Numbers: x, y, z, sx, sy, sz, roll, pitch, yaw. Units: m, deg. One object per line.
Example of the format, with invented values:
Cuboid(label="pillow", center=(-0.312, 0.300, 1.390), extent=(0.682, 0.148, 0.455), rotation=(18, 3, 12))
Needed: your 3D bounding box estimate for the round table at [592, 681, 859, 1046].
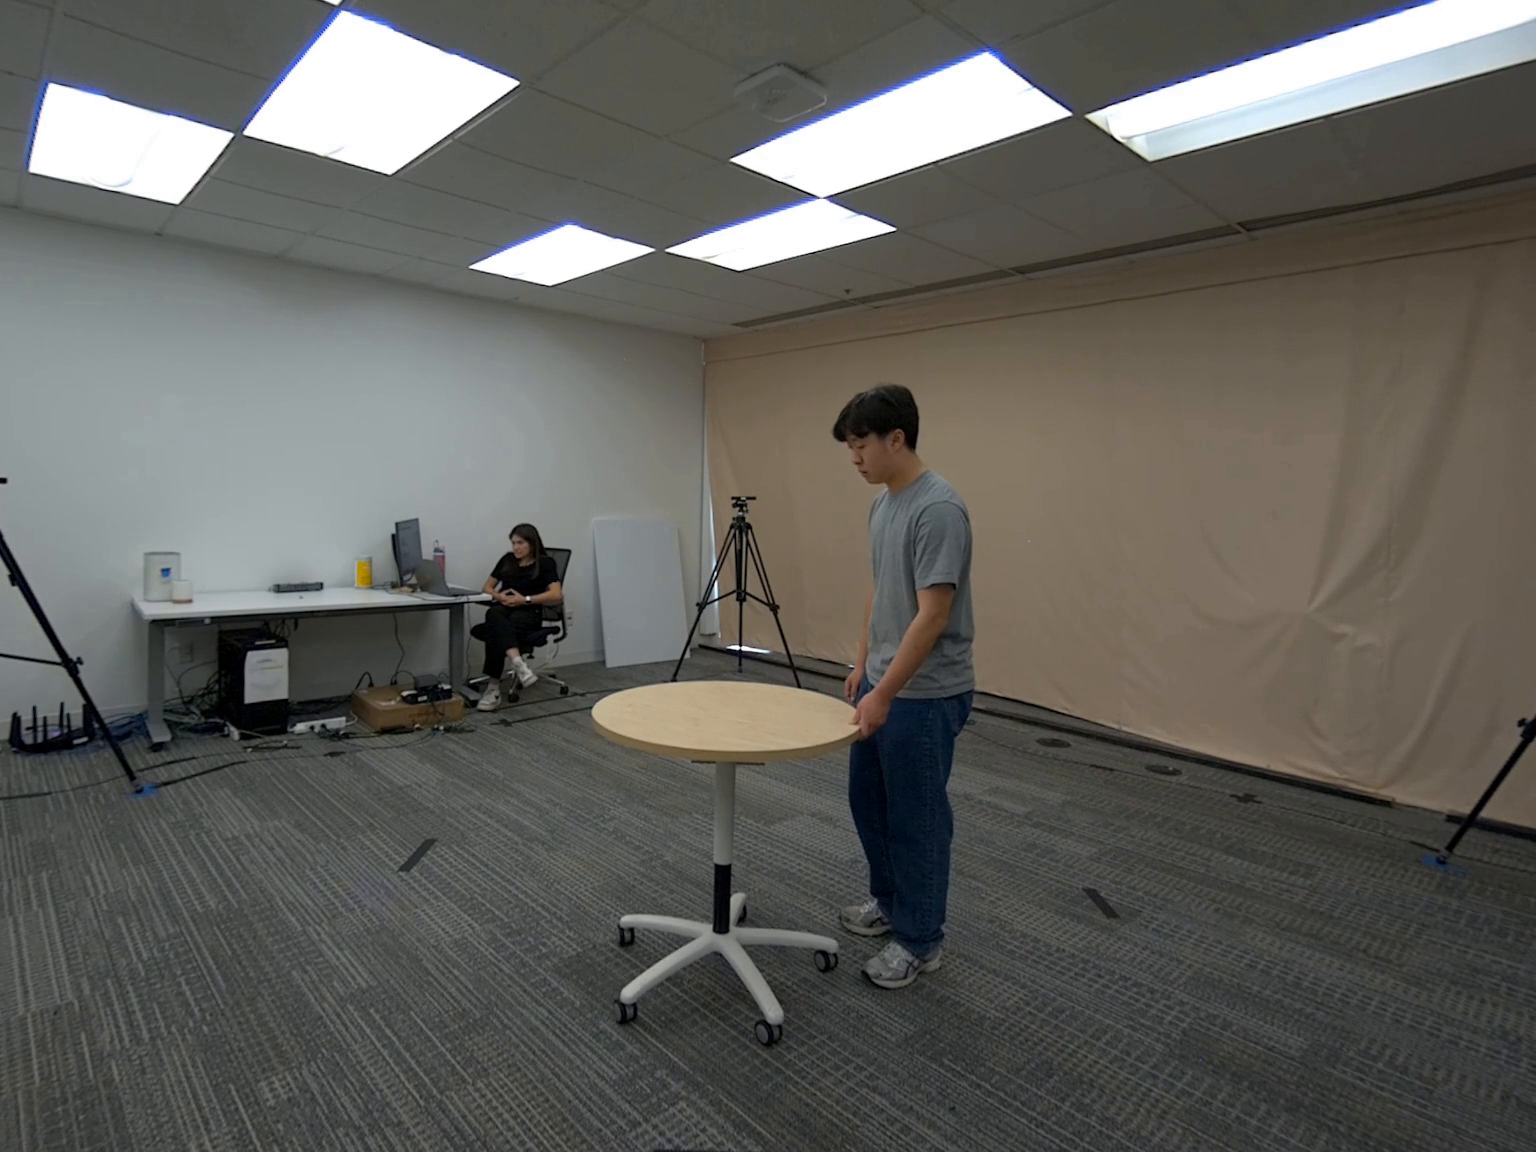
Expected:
Cuboid(label="round table", center=(-0.131, 0.779, 2.425), extent=(0.763, 0.792, 0.767), rotation=(2, 4, -2))
